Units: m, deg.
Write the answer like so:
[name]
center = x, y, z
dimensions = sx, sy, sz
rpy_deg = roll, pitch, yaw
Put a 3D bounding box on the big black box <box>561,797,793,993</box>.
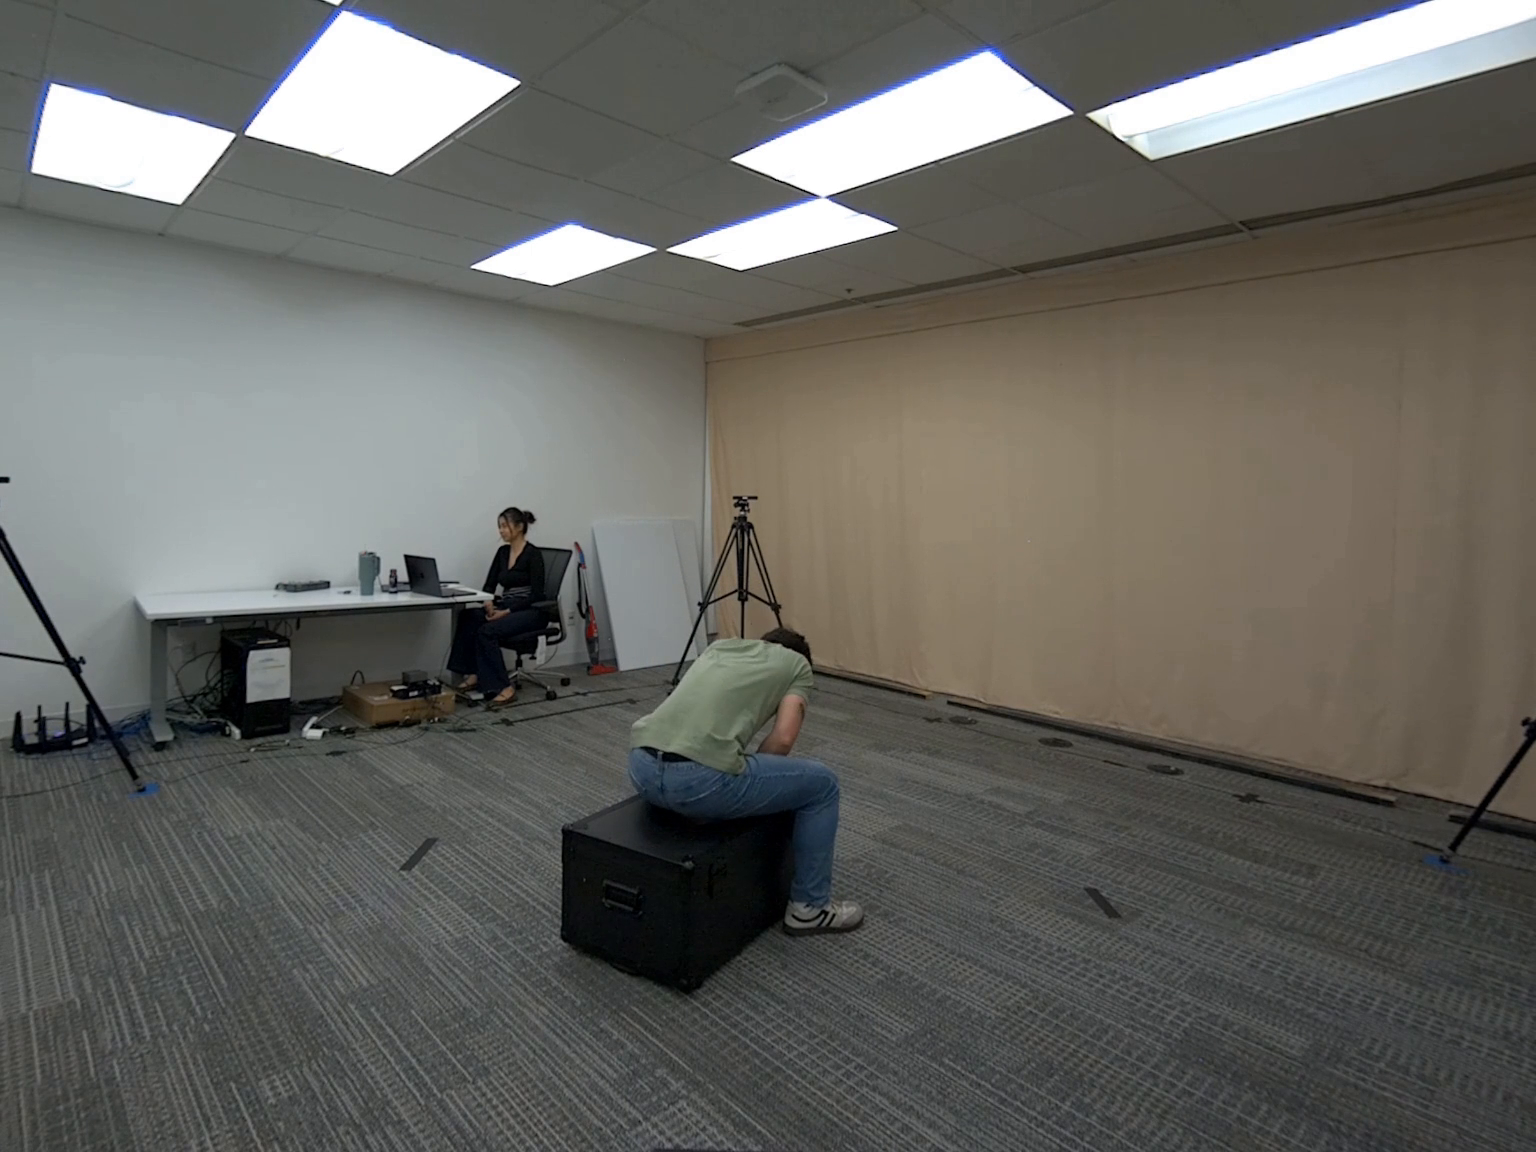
[big black box]
center = -0.218, 0.942, 2.785
dimensions = 0.533, 0.395, 0.845
rpy_deg = 3, 6, 30
